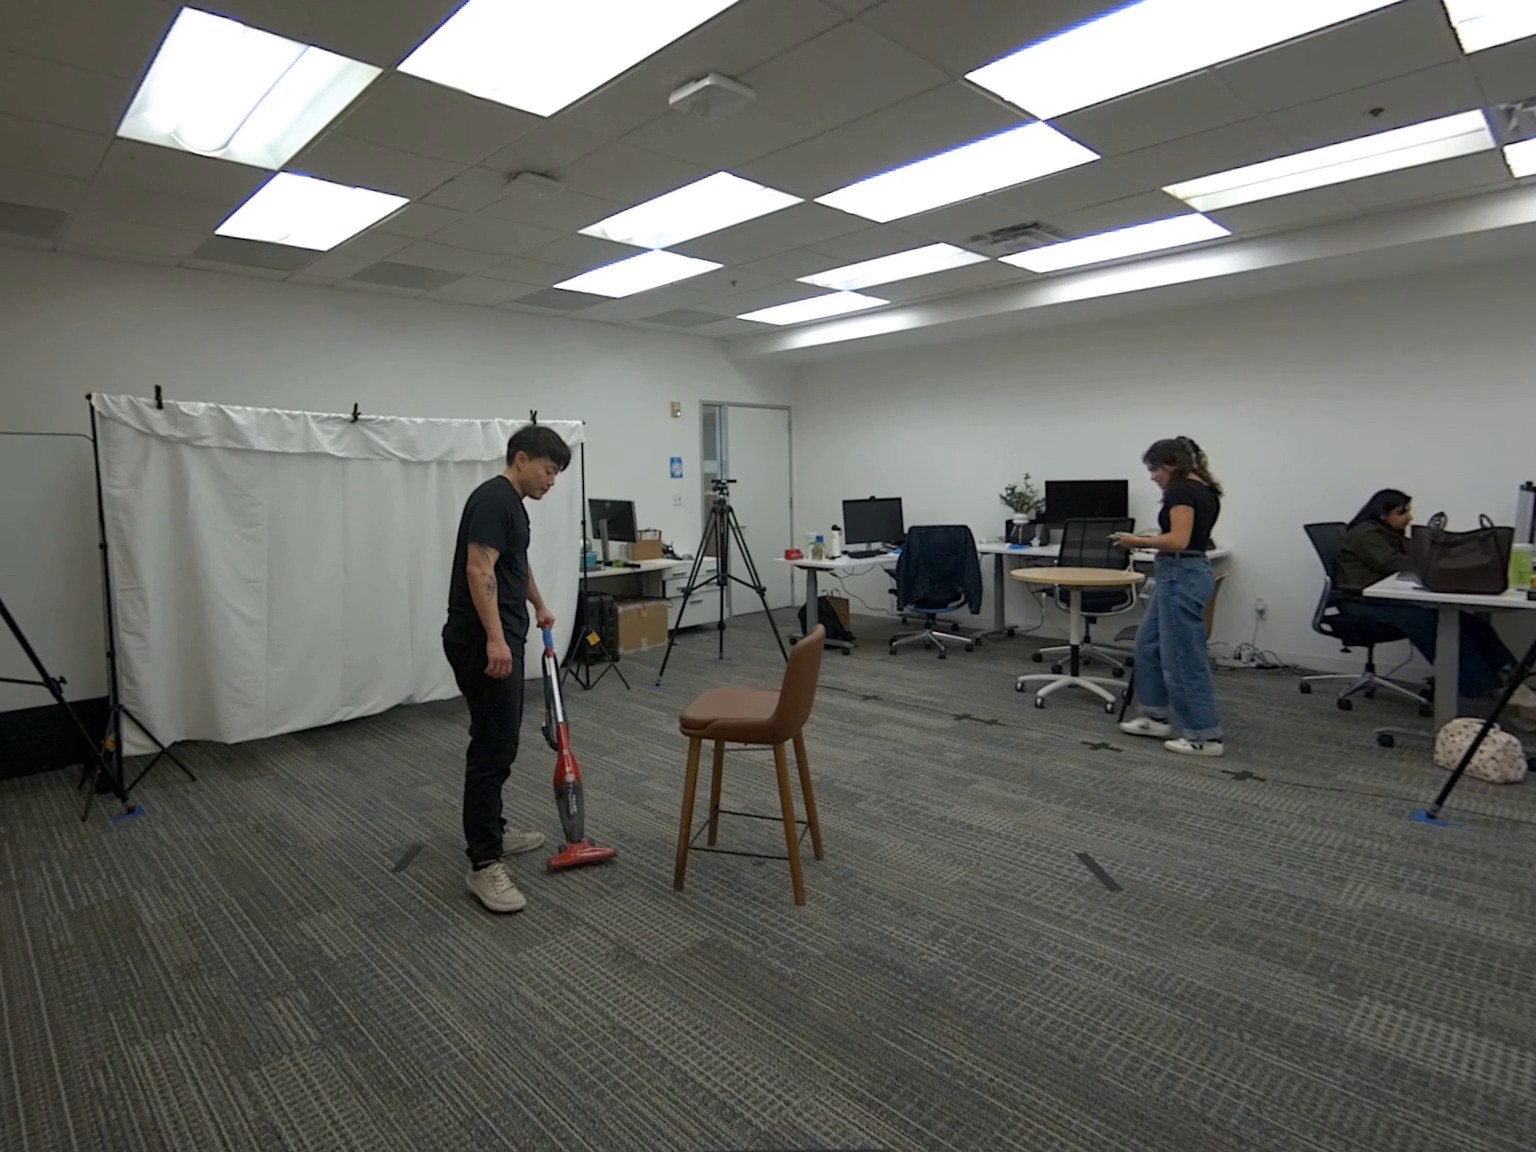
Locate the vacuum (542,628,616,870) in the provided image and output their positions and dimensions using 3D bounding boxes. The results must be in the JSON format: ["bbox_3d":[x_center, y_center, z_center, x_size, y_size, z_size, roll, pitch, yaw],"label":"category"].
[{"bbox_3d":[-0.828,0.617,3.432,0.248,1.083,0.142,-3,-36,-22],"label":"vacuum"}]
